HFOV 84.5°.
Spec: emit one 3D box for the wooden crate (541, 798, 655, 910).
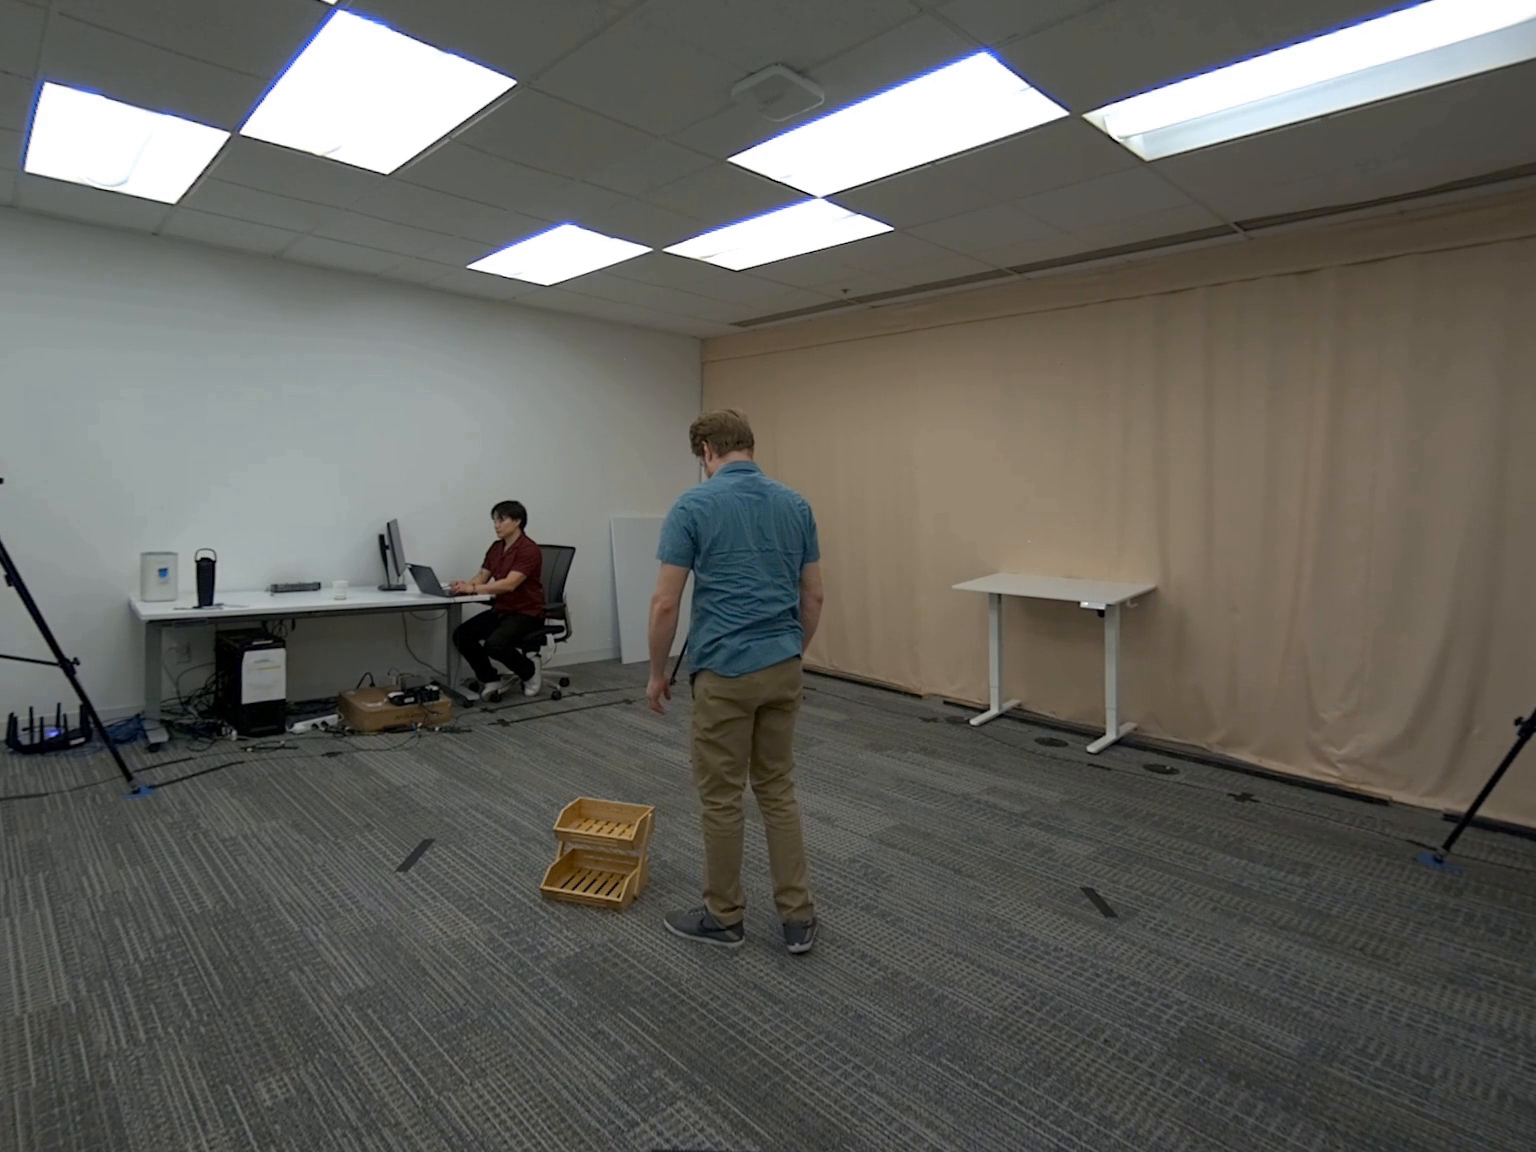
[{"bbox_3d":[-0.605,0.975,2.962,0.328,0.272,0.299,3,4,14],"label":"wooden crate"}]
